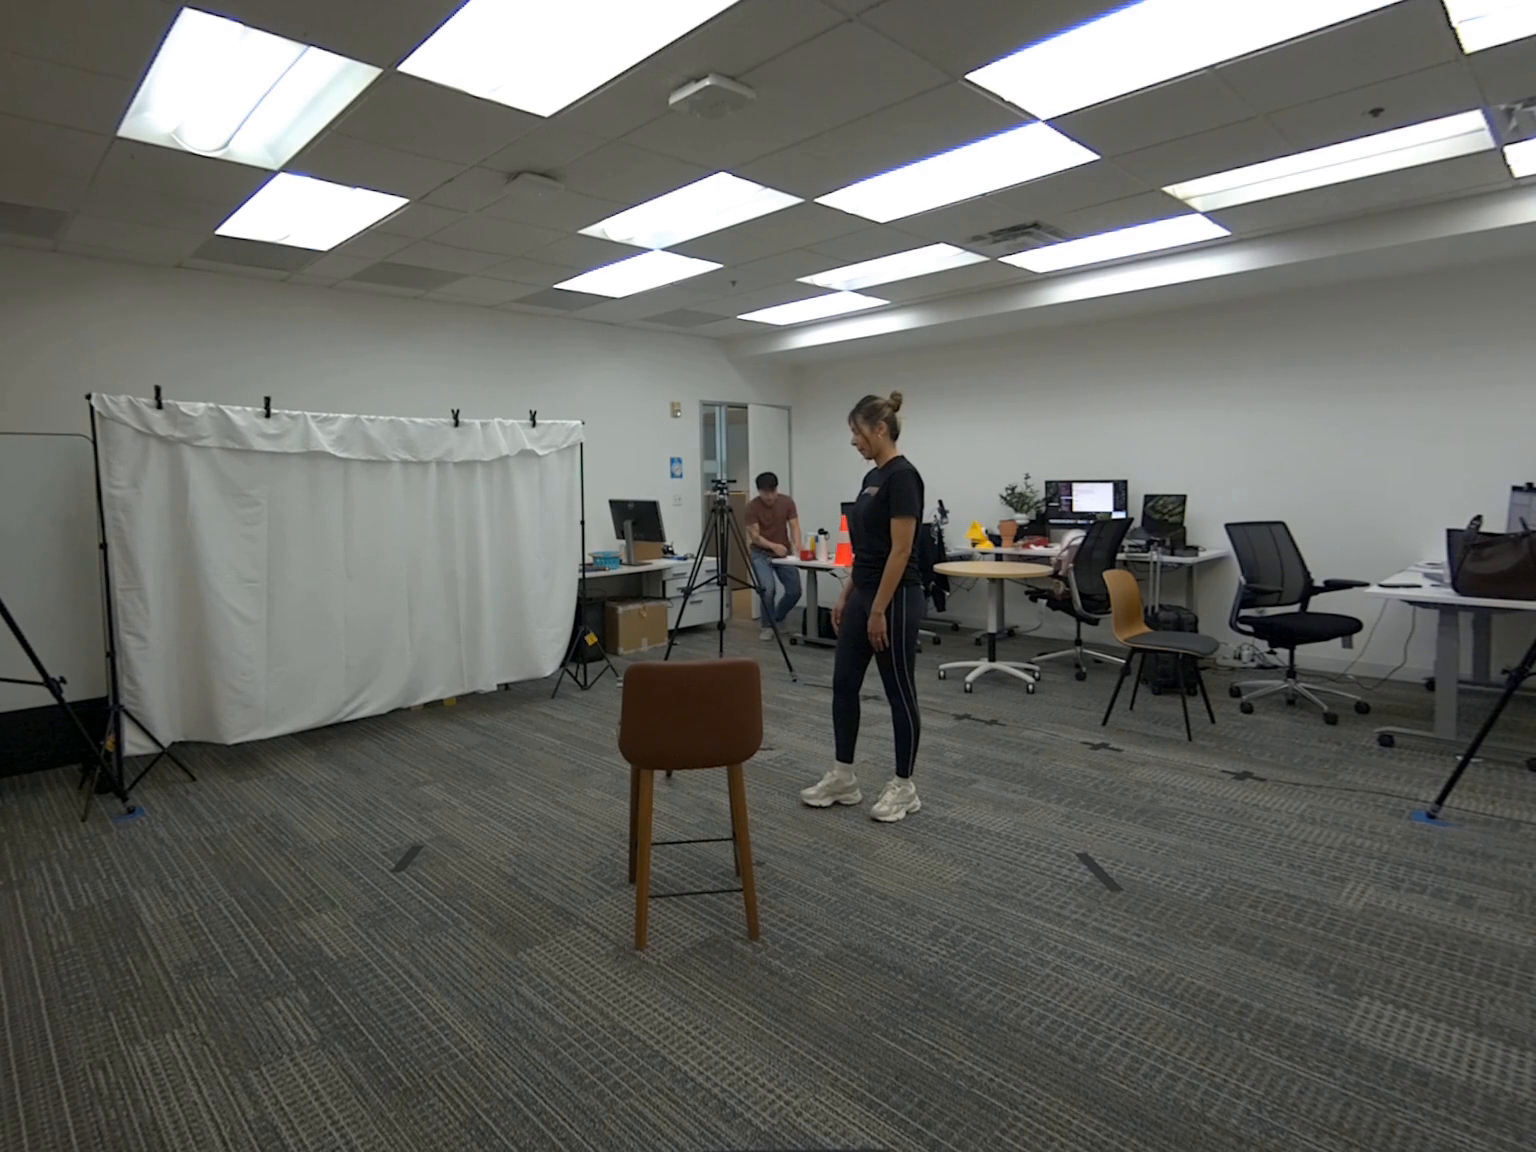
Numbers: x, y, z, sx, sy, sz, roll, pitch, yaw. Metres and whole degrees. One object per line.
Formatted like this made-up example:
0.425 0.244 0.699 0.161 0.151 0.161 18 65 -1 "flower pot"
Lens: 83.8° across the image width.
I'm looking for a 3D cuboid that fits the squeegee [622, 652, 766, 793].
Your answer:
-0.351 0.630 3.375 0.437 0.053 1.517 19 -25 -1 "squeegee"
